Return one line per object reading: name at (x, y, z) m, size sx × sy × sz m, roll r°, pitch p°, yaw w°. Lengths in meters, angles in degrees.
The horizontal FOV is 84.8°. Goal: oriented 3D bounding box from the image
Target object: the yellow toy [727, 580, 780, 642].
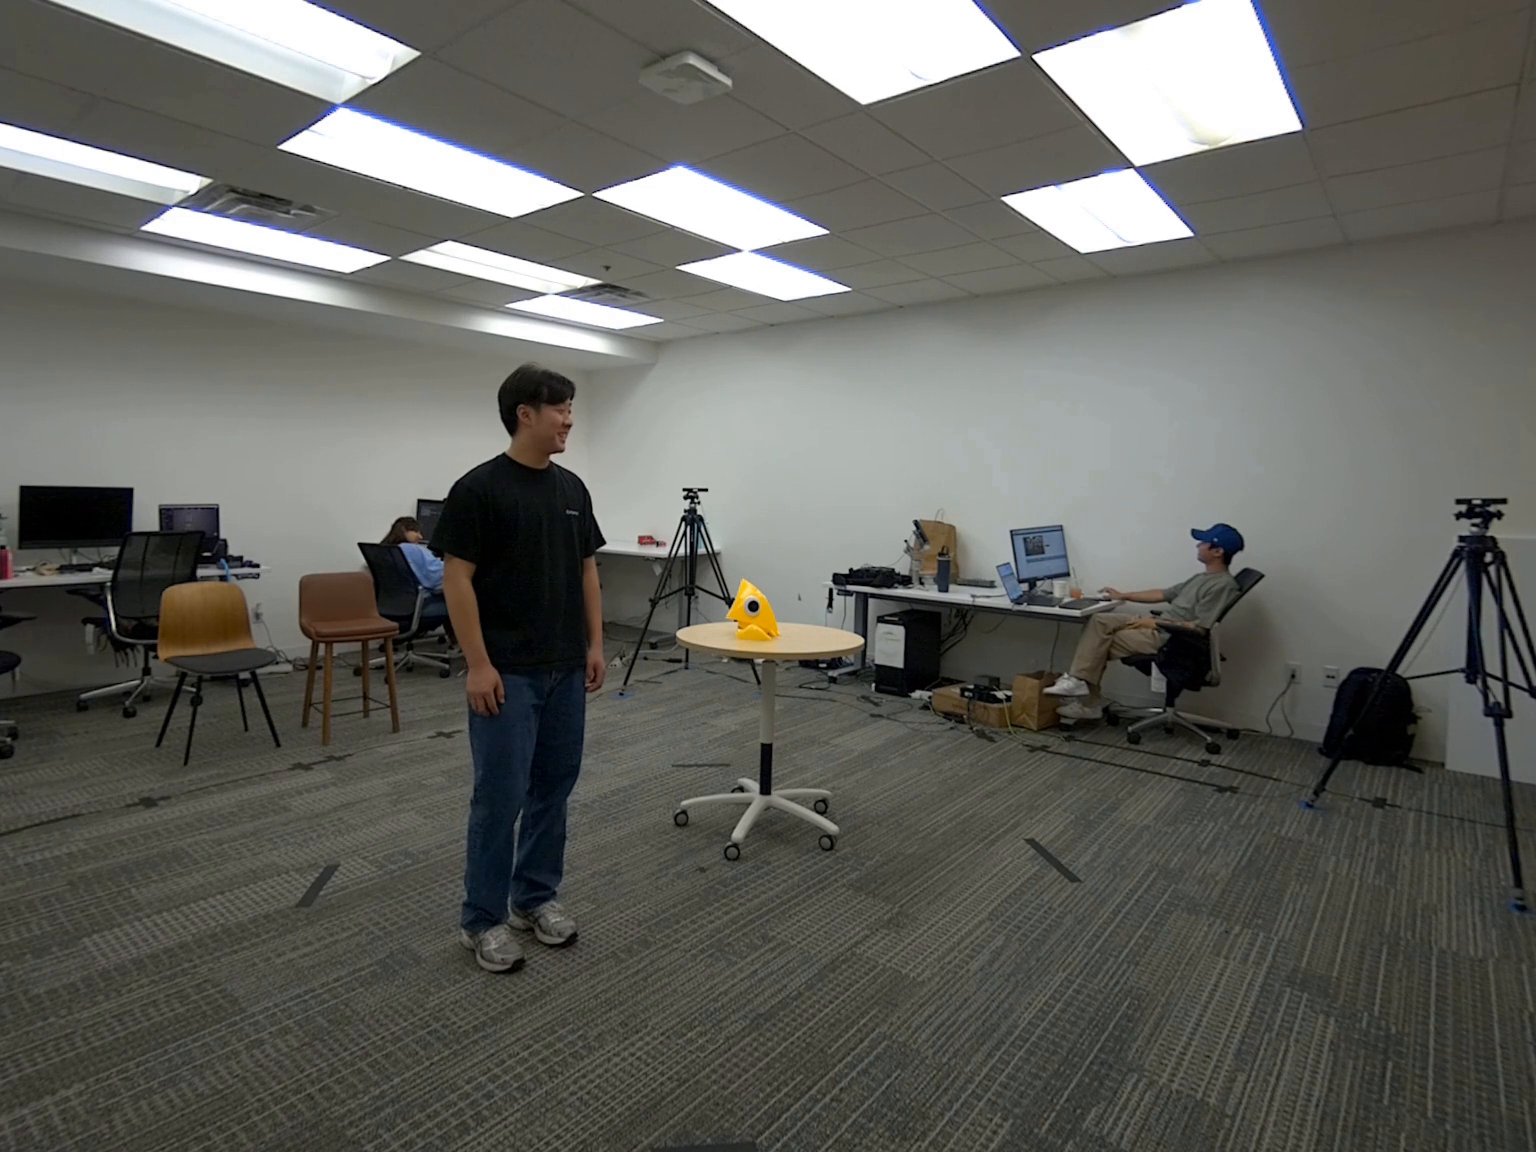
yellow toy at (-0.059, 0.128, 3.460) m, size 0.197 × 0.230 × 0.201 m, roll 3°, pitch 3°, yaw 20°
